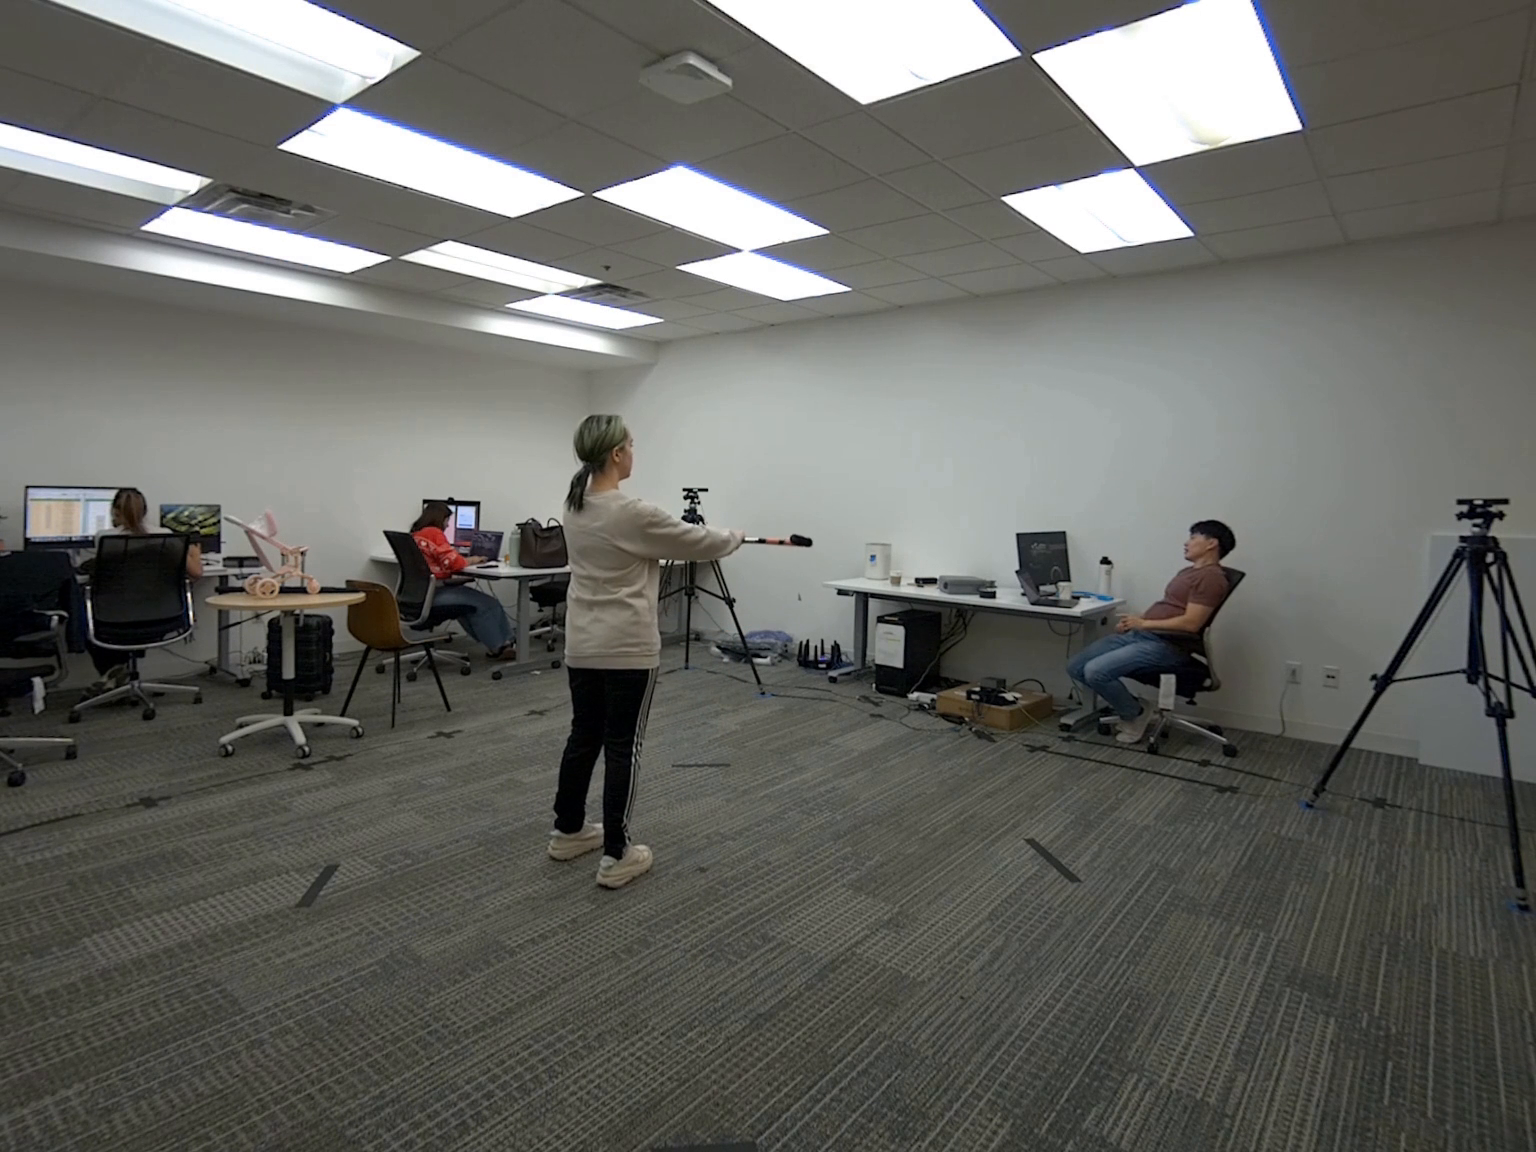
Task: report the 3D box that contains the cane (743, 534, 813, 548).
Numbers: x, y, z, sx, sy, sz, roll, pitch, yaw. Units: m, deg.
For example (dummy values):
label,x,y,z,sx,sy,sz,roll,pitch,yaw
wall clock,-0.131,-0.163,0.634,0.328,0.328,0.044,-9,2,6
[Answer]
label,x,y,z,sx,sy,sz,roll,pitch,yaw
cane,-0.220,-0.135,3.432,0.937,0.152,0.199,3,-9,37
